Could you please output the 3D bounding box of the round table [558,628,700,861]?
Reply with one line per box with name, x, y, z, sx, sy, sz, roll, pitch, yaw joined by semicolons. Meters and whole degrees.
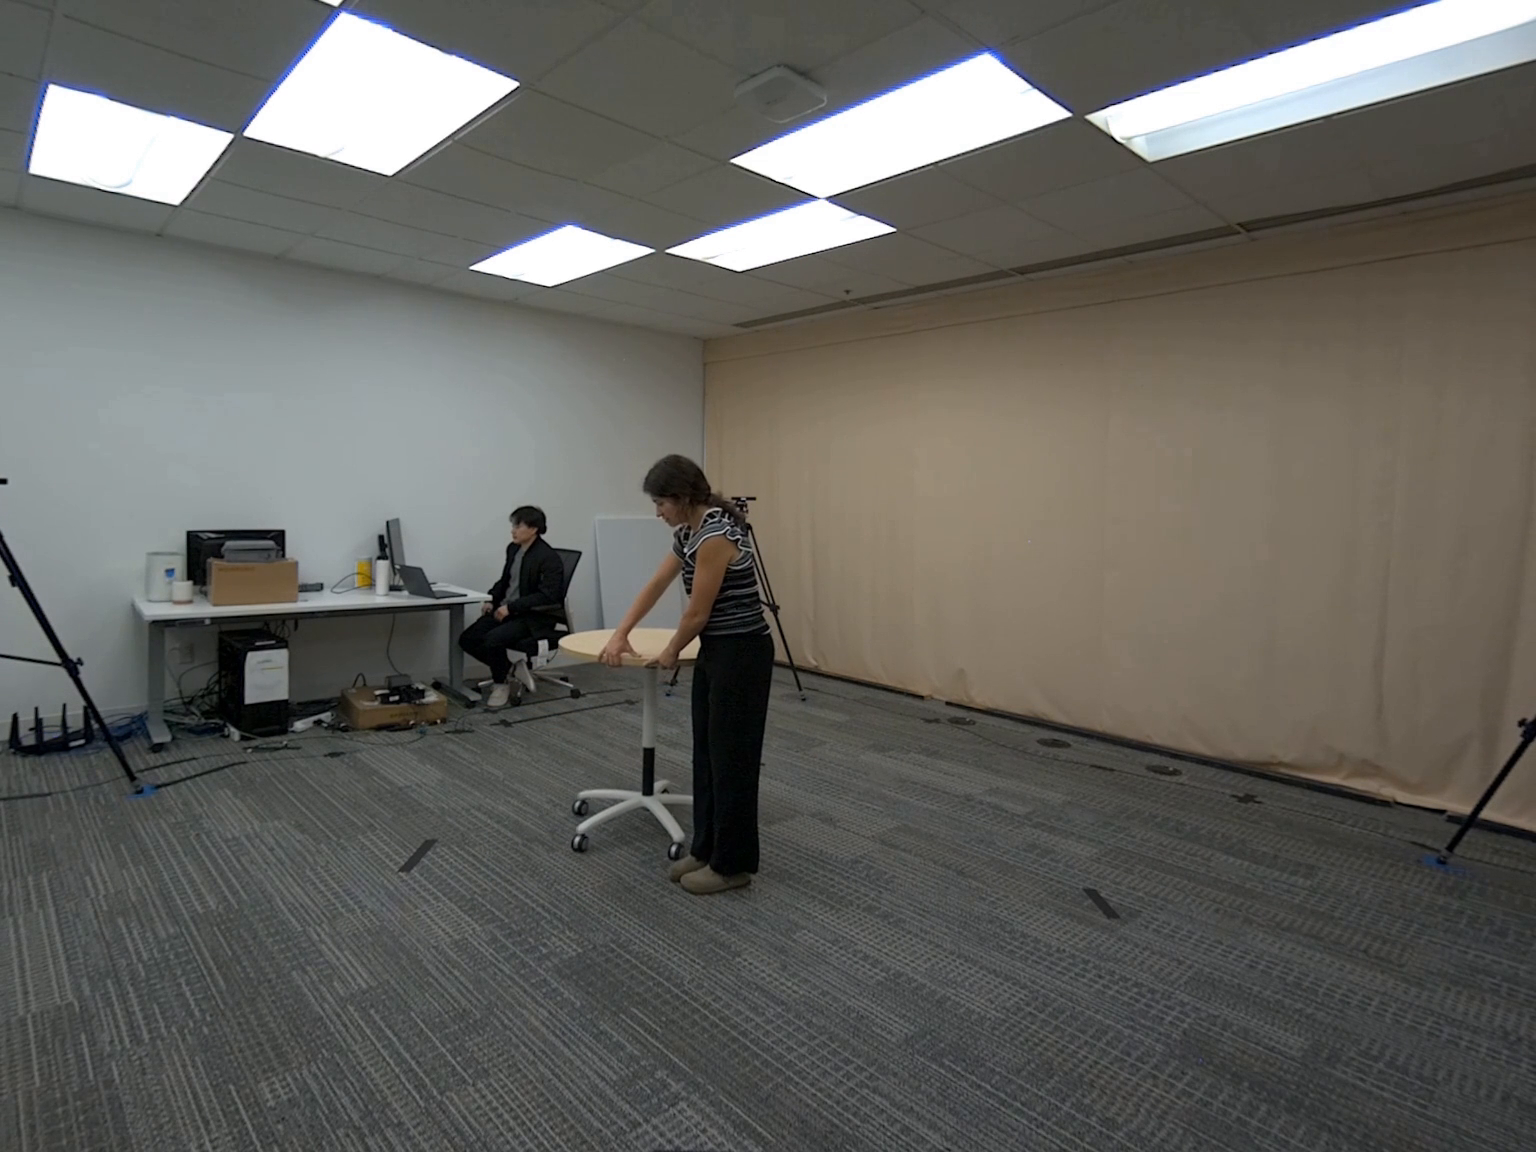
round table;-0.507;0.667;3.511;0.784;0.785;0.787;2;3;-1
